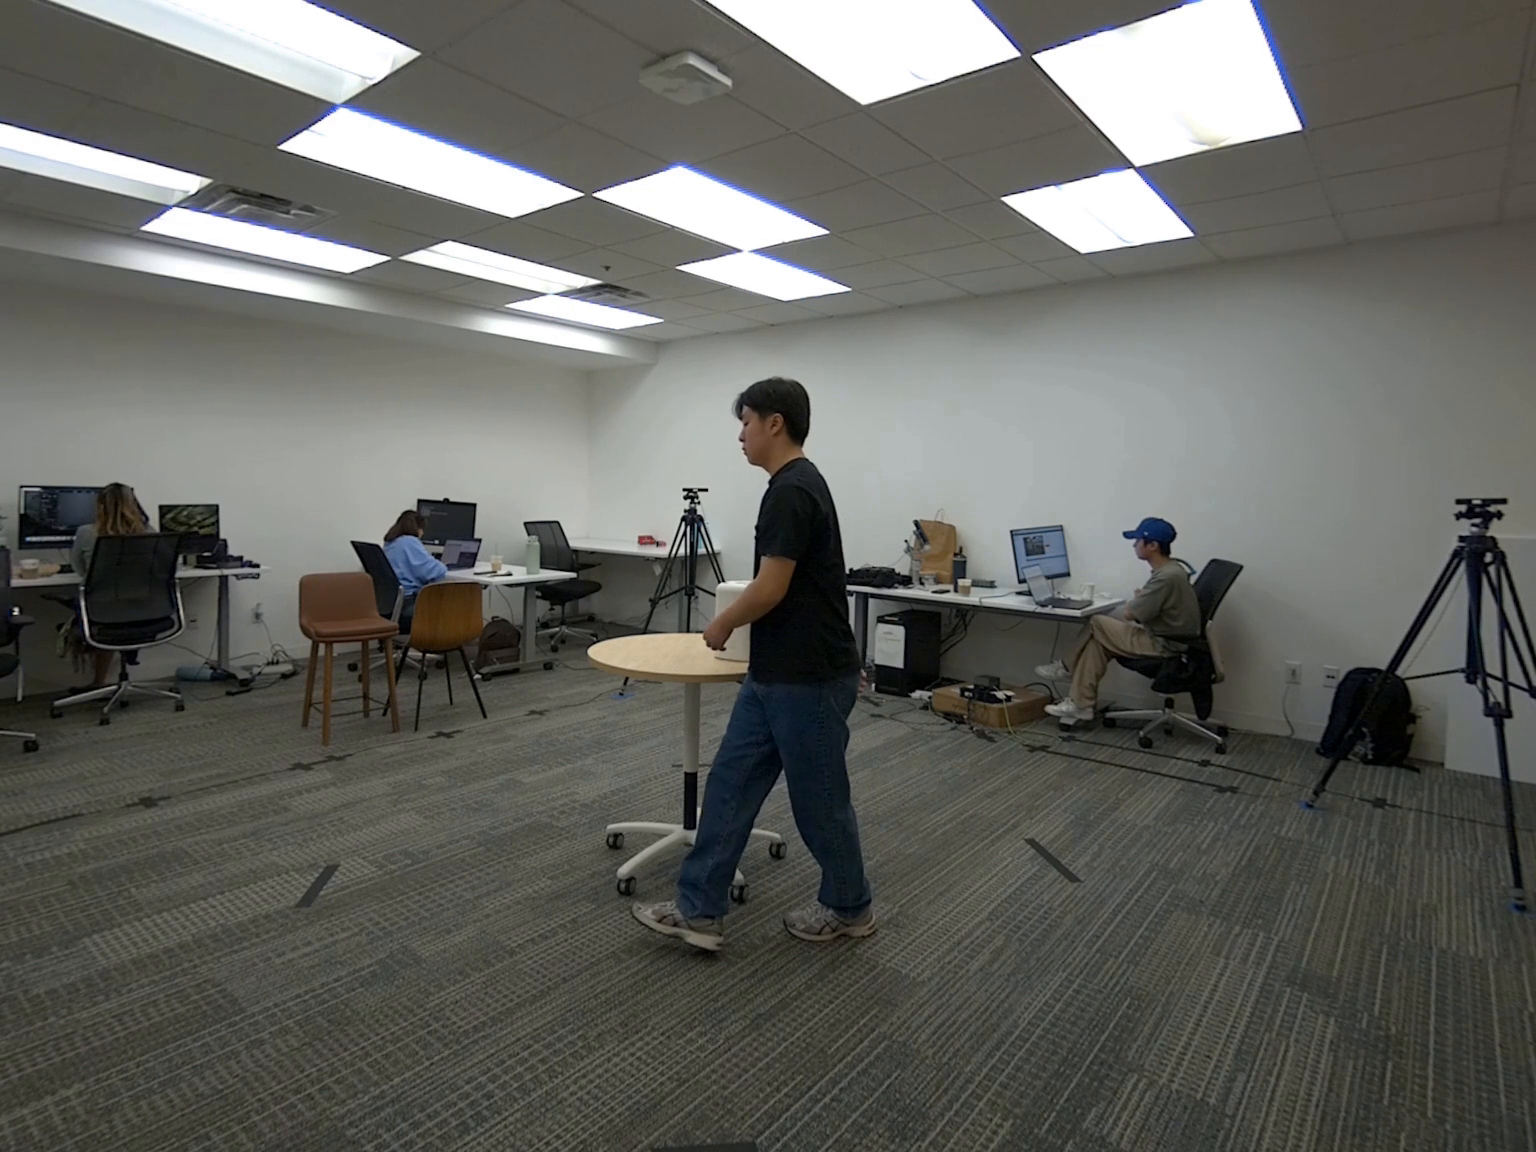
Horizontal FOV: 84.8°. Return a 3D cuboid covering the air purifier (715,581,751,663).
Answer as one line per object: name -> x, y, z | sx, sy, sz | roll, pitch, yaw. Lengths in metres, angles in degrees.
air purifier -> -0.099, 0.151, 3.018 | 0.176, 0.264, 0.167 | 3, 4, 27
